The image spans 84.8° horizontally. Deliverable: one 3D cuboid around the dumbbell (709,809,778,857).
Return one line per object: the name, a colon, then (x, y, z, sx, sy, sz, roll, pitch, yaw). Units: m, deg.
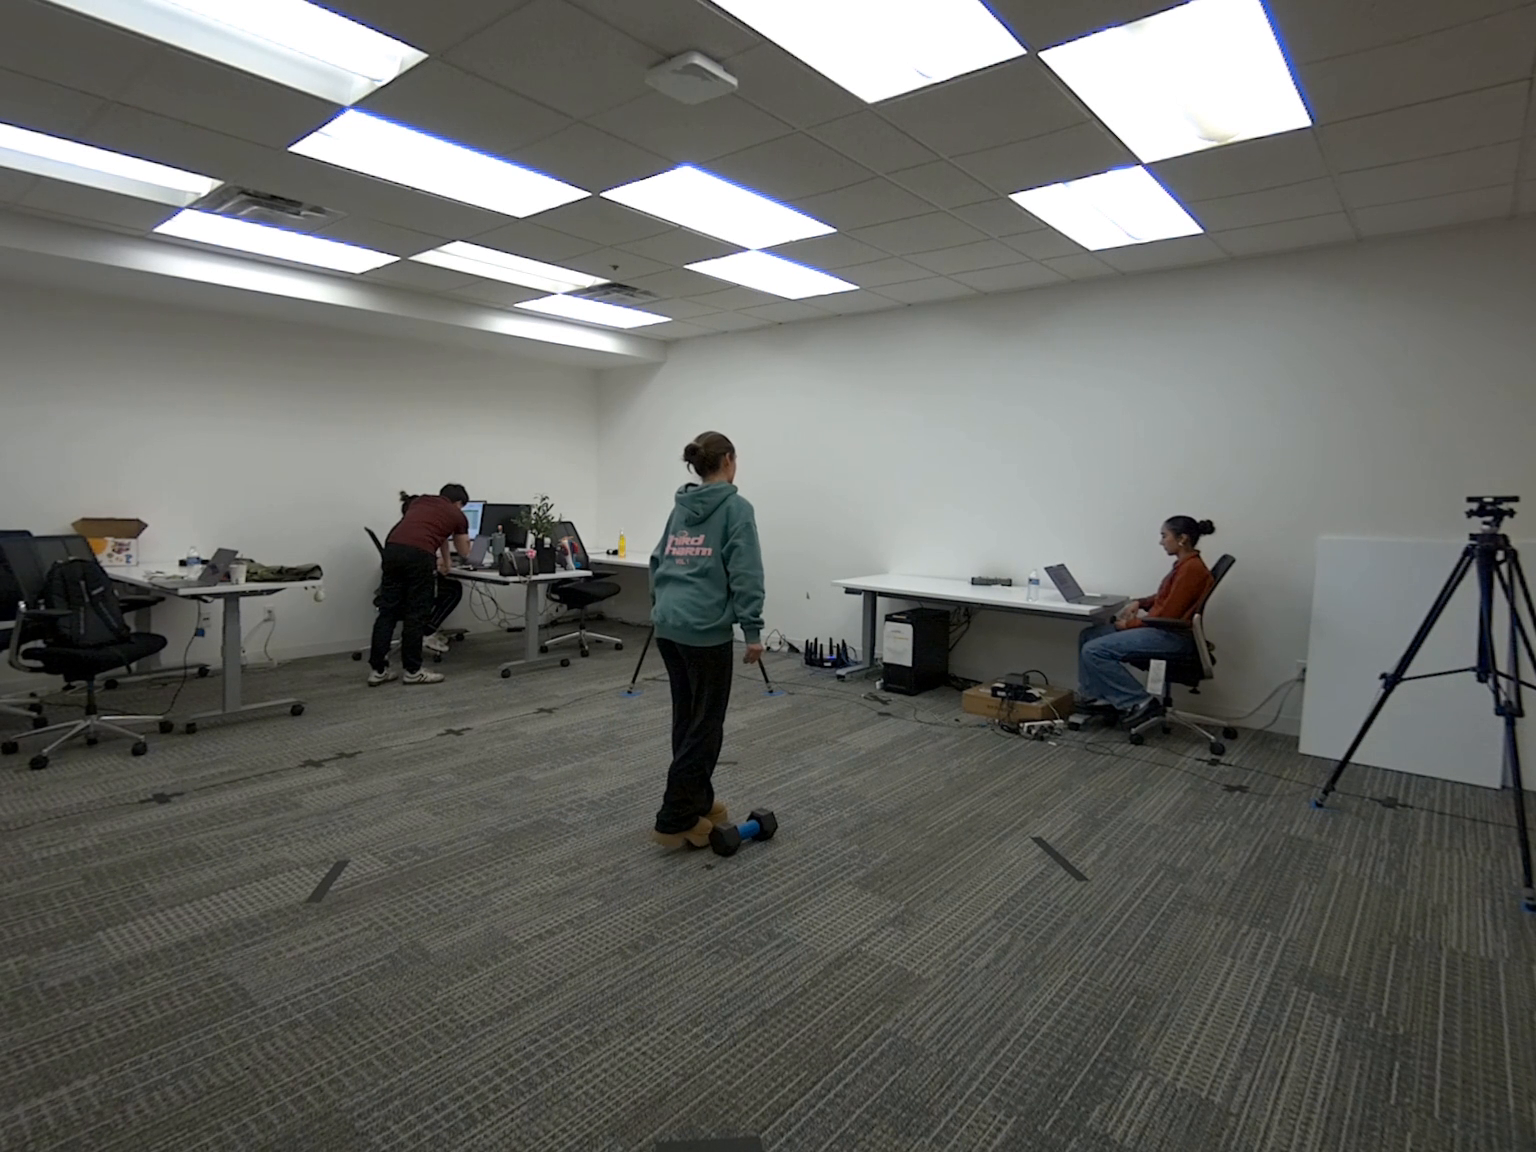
dumbbell: (-0.102, 0.992, 3.311, 0.285, 0.122, 0.113, -6, 40, -46)
